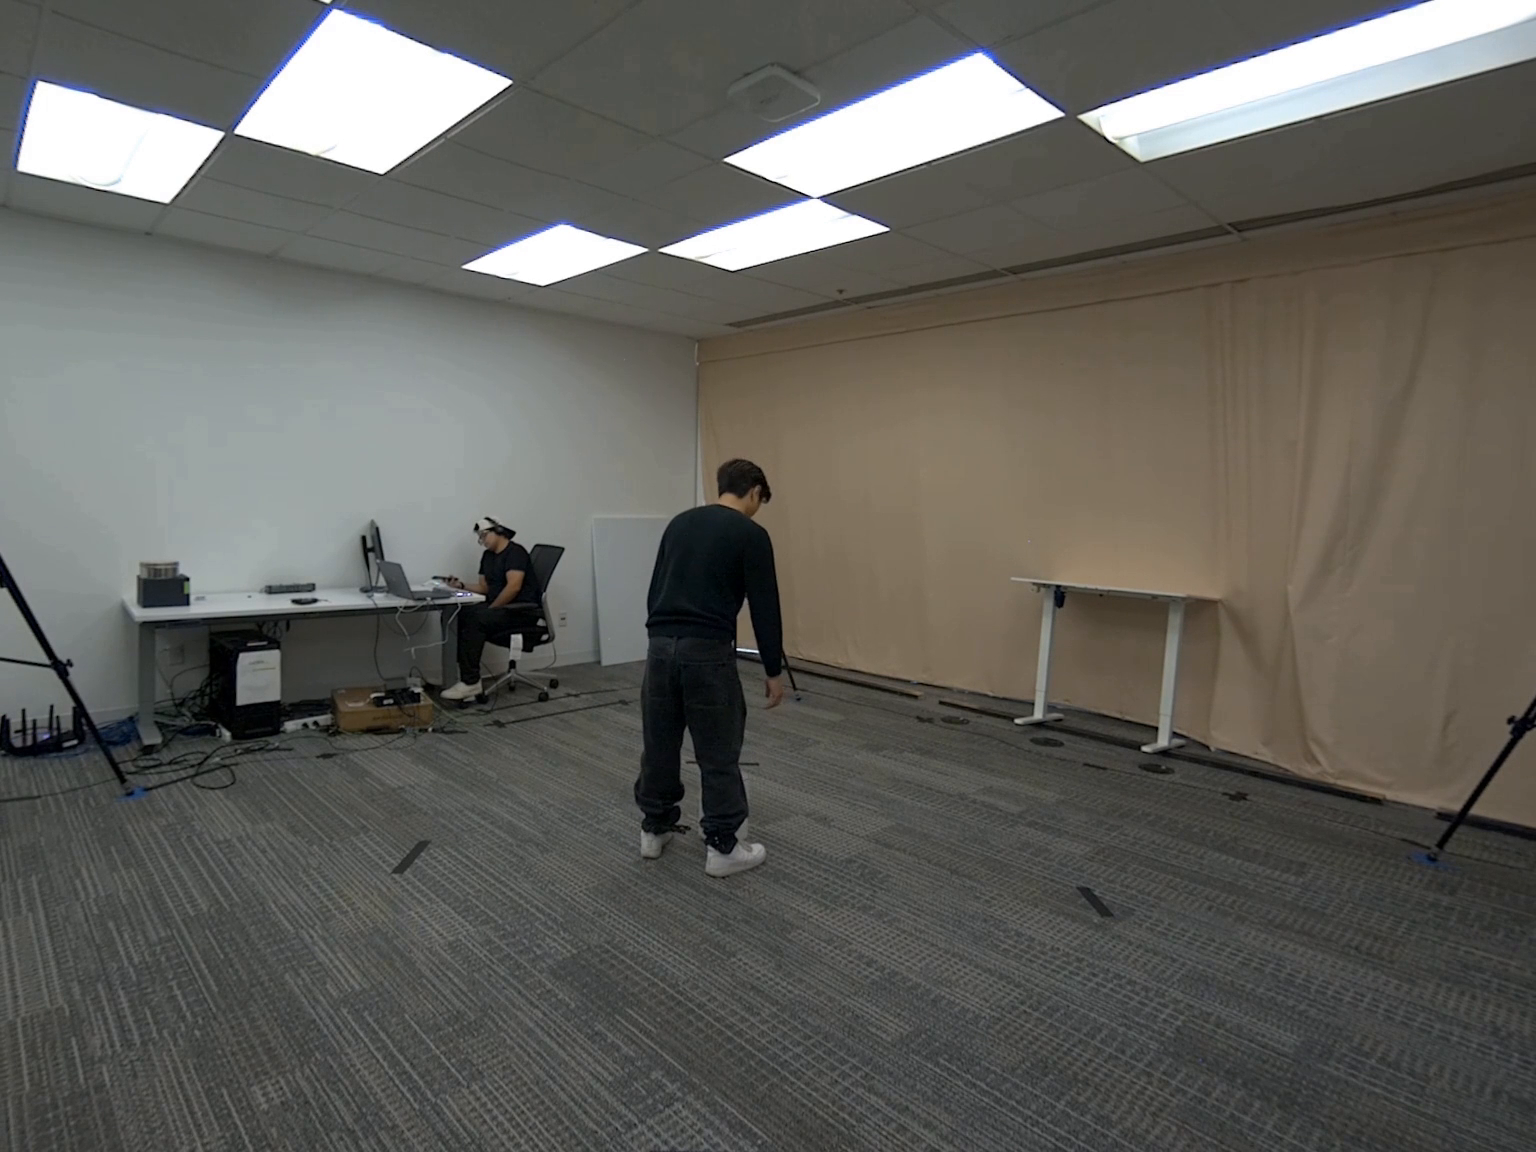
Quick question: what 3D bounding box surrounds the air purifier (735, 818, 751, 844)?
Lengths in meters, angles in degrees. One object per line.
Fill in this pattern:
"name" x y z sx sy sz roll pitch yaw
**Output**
"air purifier" -0.193 0.949 3.428 0.167 0.265 0.176 -2 4 -43
